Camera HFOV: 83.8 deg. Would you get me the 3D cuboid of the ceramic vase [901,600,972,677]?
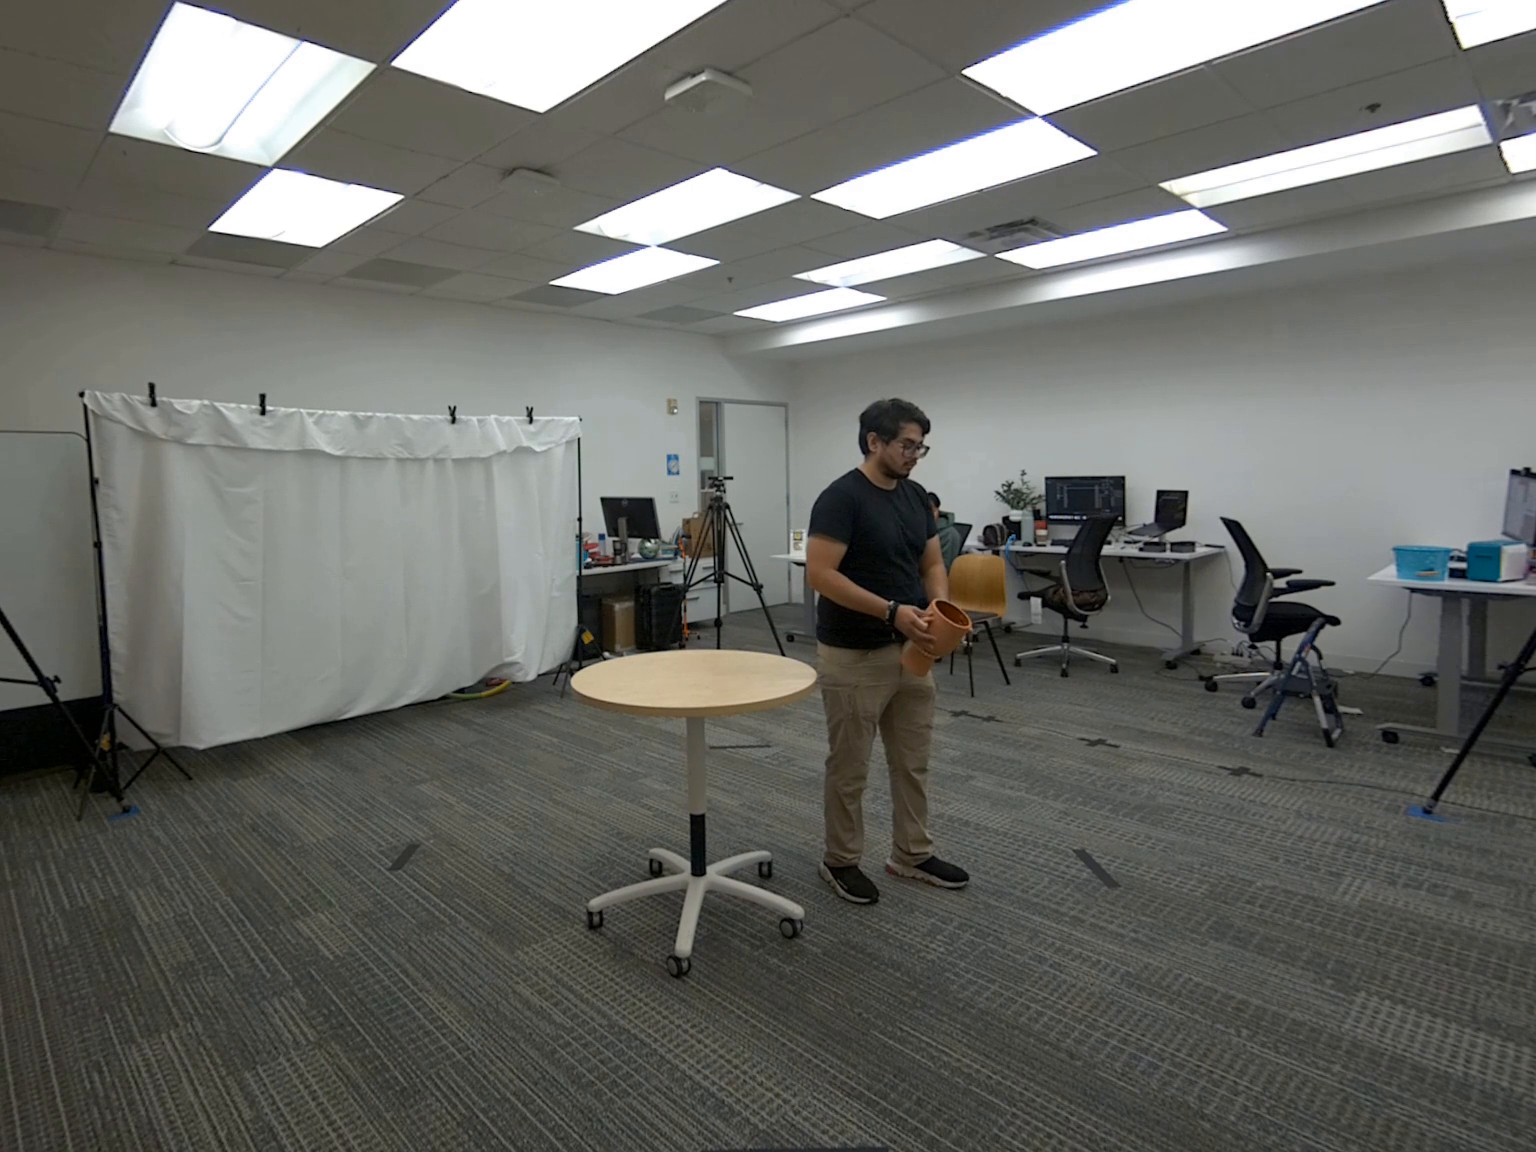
[{"bbox_3d":[0.503,0.196,2.600,0.158,0.218,0.136,27,28,-3],"label":"ceramic vase"}]
